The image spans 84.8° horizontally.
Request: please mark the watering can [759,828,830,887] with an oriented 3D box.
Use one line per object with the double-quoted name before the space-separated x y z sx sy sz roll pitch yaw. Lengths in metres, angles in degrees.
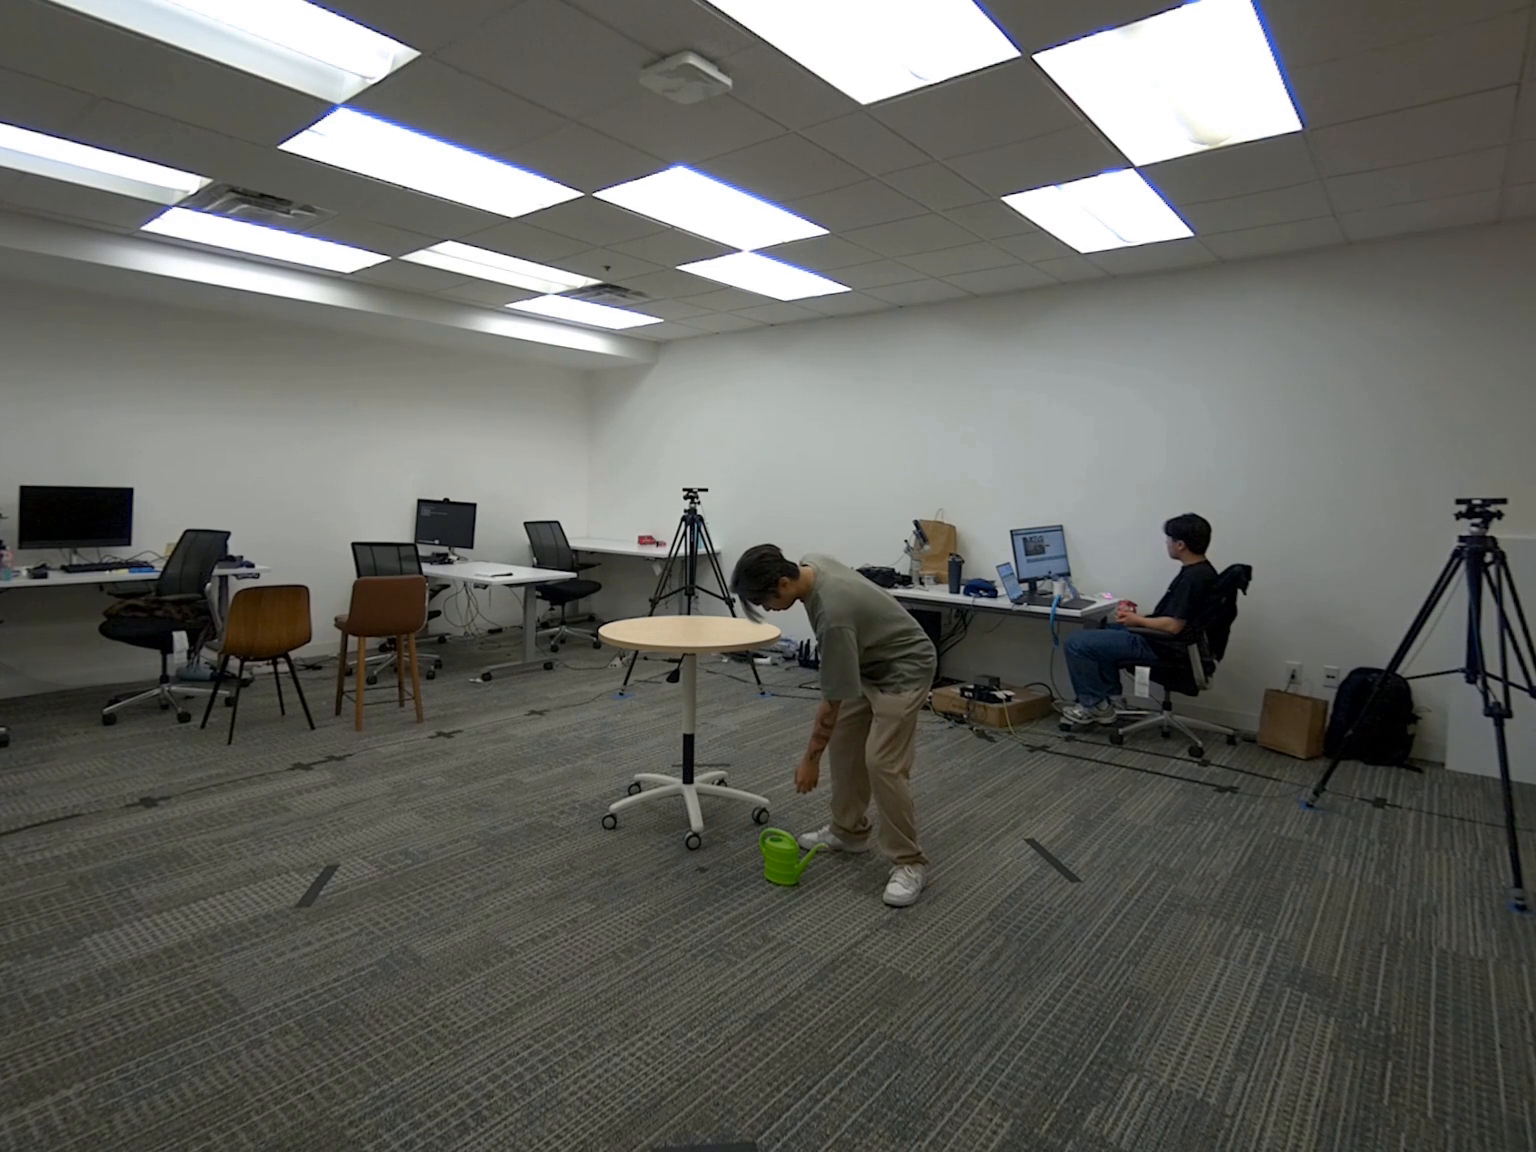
"watering can" 0.065 0.991 3.016 0.095 0.176 0.288 -2 5 -42
